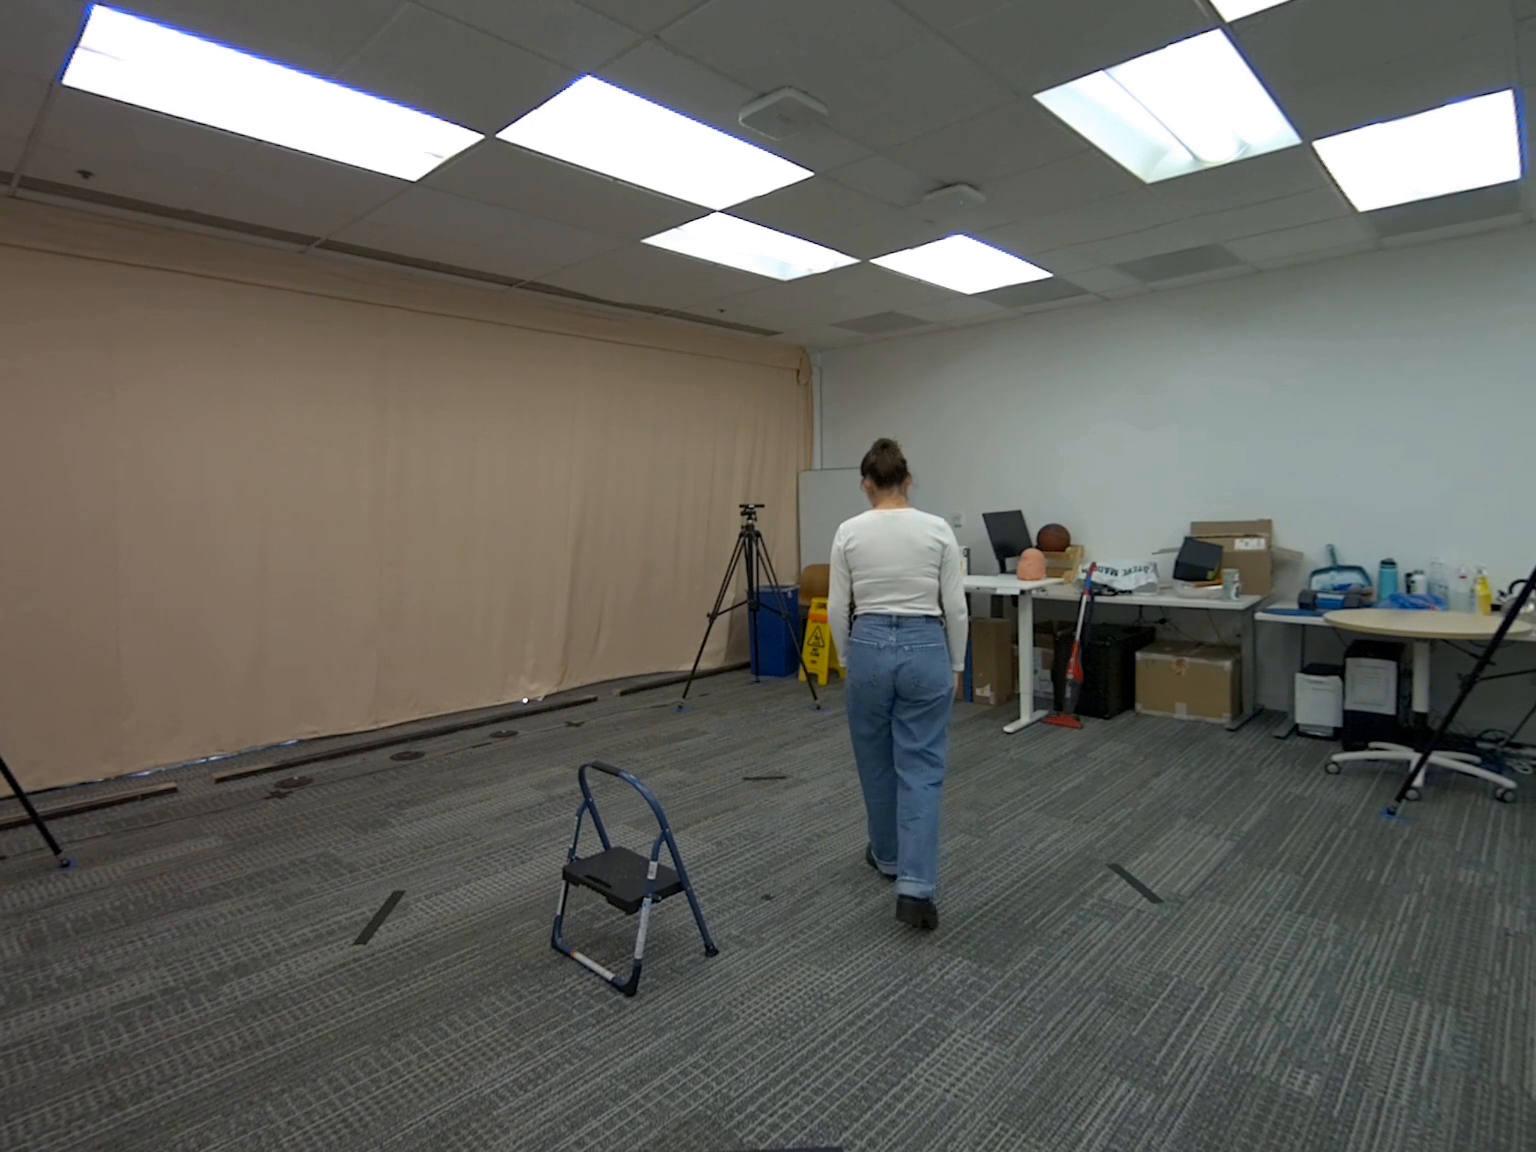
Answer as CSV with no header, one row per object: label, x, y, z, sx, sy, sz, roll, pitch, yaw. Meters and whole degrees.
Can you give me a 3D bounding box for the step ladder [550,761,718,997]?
step ladder,-0.430,0.878,2.635,0.445,0.605,0.339,2,4,43
